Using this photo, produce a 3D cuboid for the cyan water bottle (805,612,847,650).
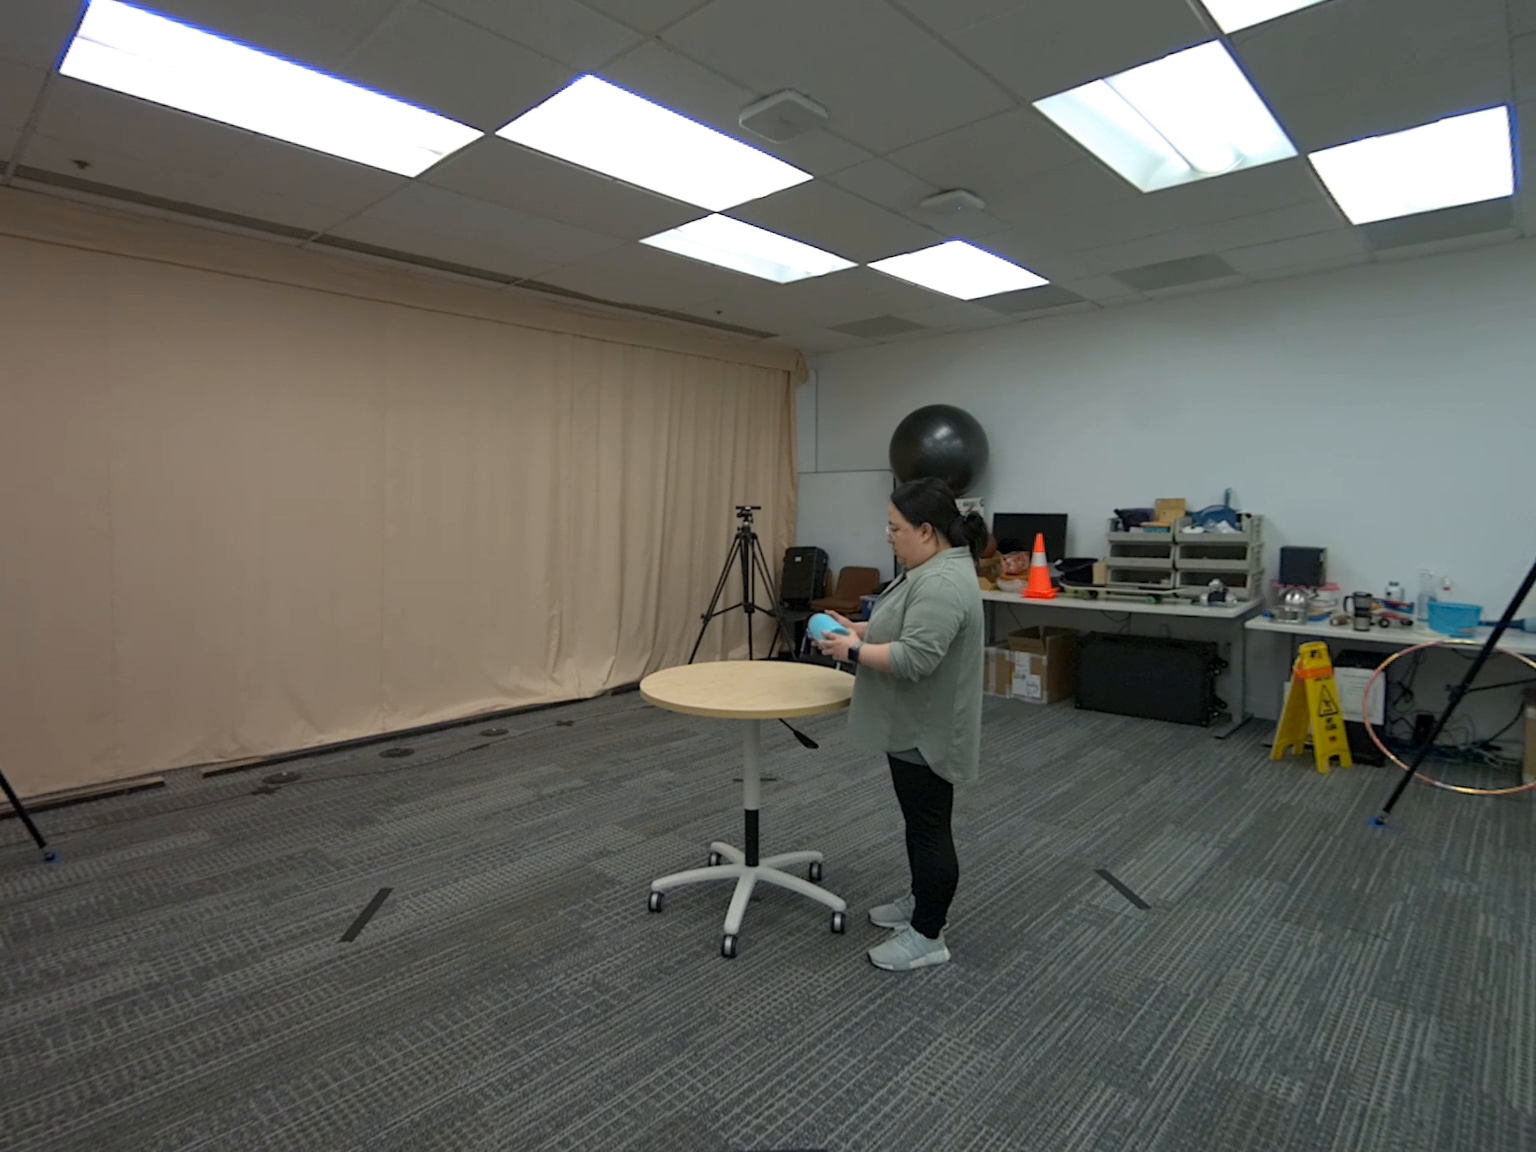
[{"bbox_3d":[0.202,0.183,2.708,0.091,0.092,0.287,-1,8,-10],"label":"cyan water bottle"}]
